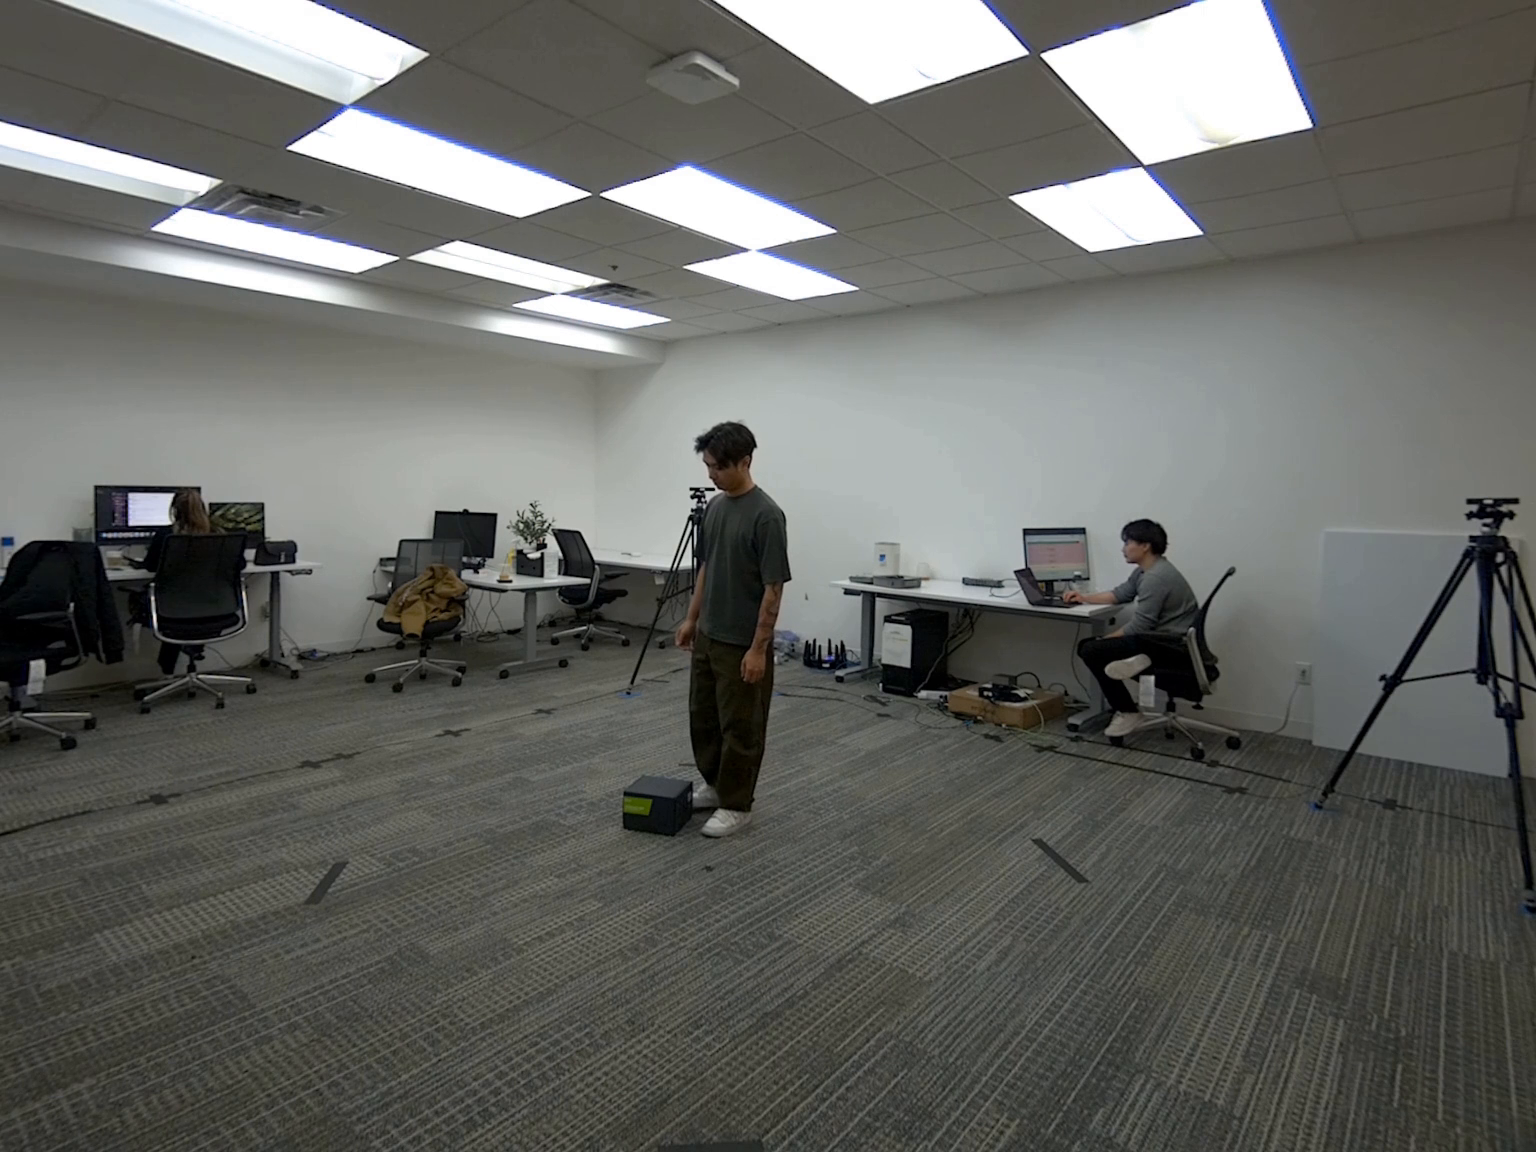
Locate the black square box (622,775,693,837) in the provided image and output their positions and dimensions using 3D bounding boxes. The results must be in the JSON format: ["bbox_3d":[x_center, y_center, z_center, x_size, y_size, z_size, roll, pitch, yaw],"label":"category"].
[{"bbox_3d":[-0.467,0.938,3.523,0.232,0.155,0.214,2,5,16],"label":"black square box"}]
